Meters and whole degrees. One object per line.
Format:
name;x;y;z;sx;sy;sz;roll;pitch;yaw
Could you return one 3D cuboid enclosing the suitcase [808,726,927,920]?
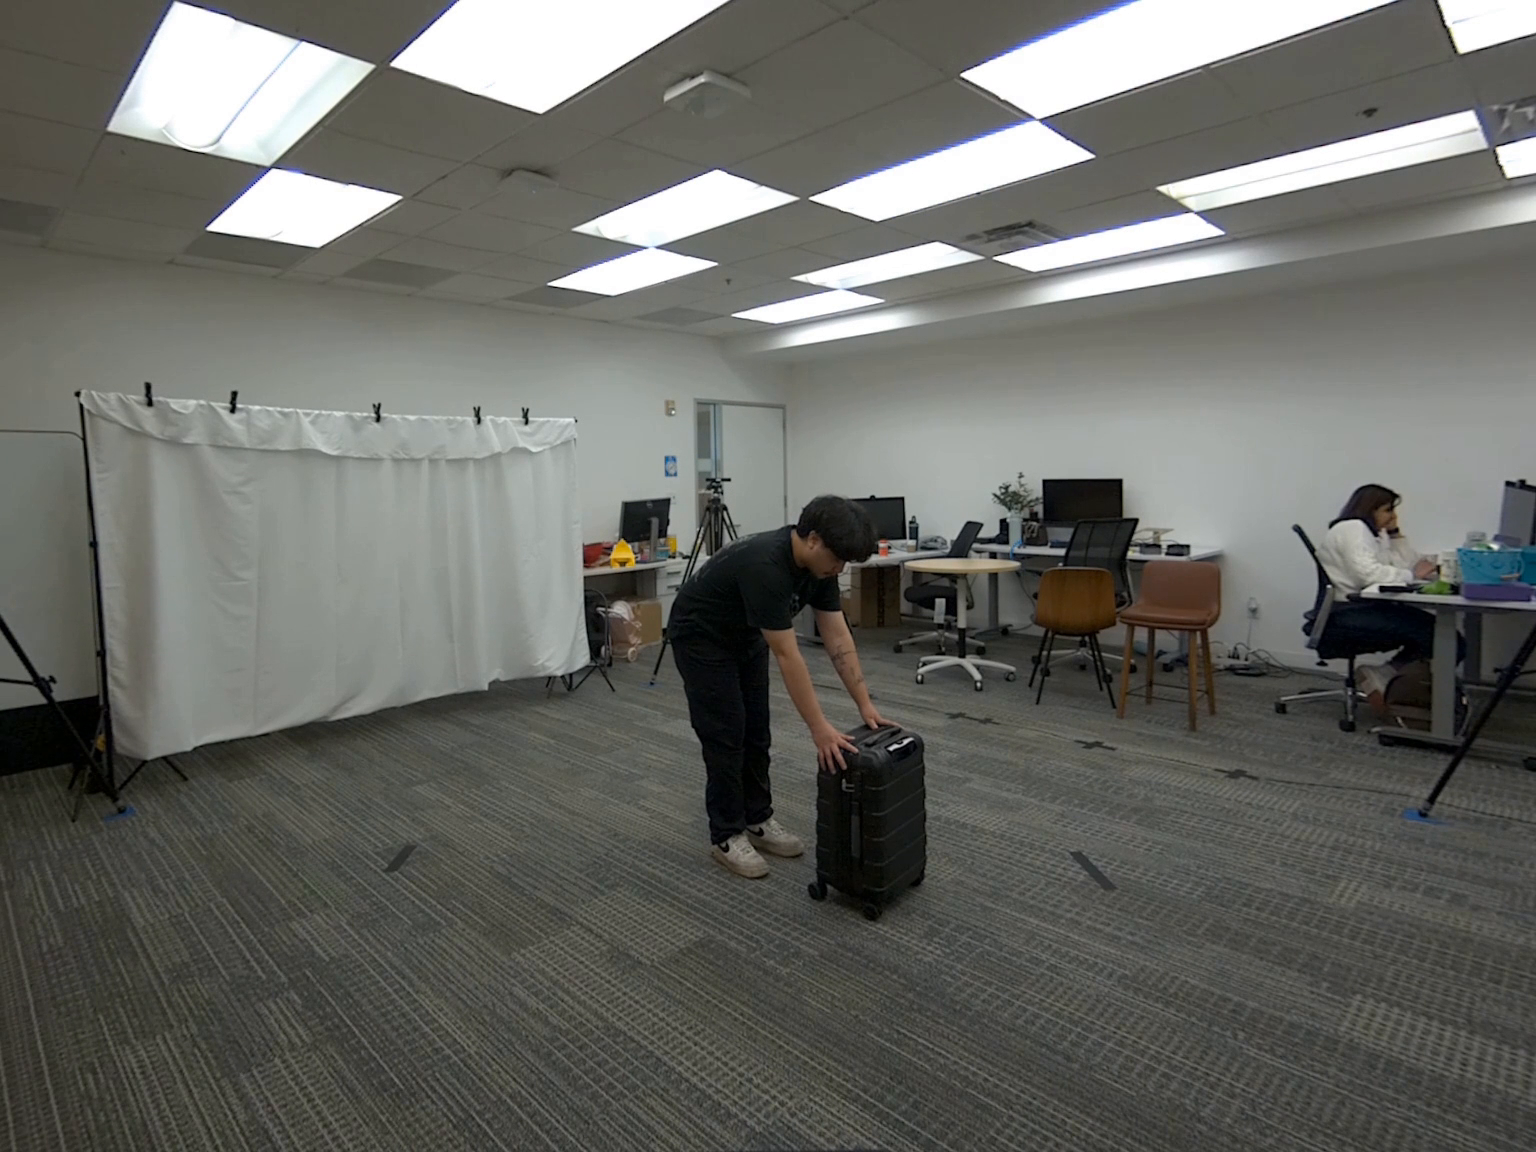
suitcase;0.352;0.793;2.844;0.256;0.547;0.366;3;6;37
